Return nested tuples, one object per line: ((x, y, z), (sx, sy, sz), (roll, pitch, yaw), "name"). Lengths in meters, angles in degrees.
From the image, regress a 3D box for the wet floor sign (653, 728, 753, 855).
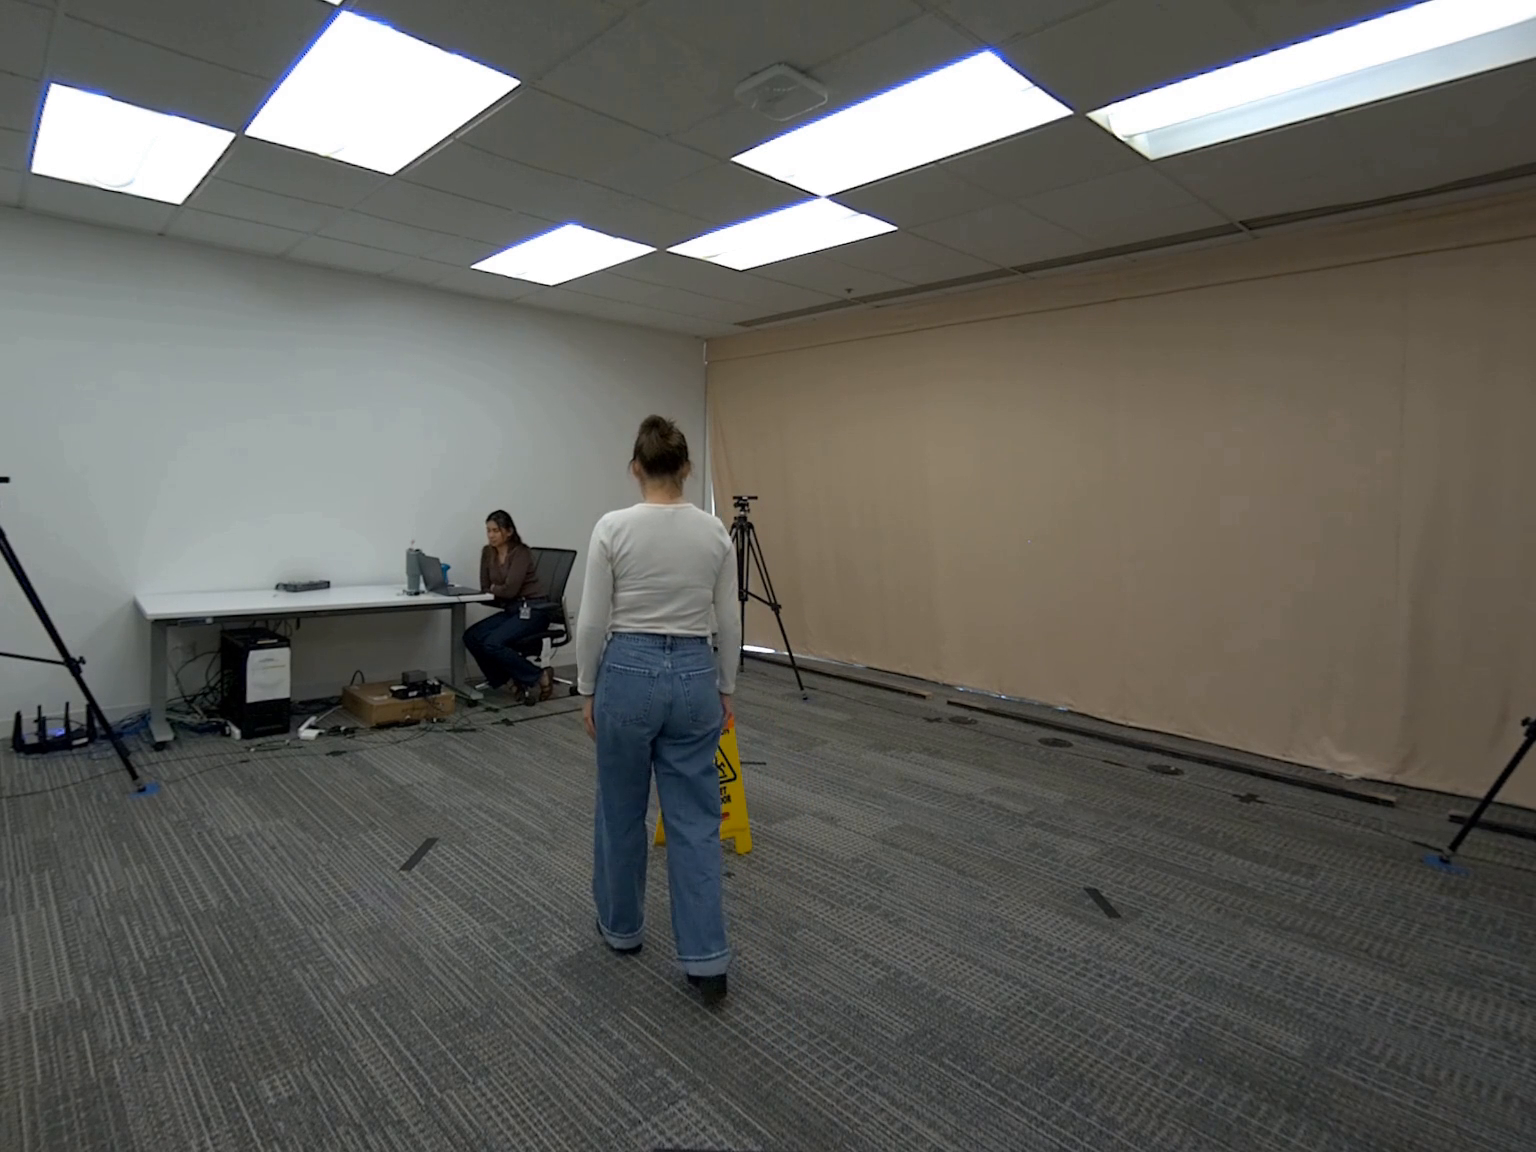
((-0.258, 0.760, 3.326), (0.276, 0.645, 0.297), (-1, 3, -44), "wet floor sign")
